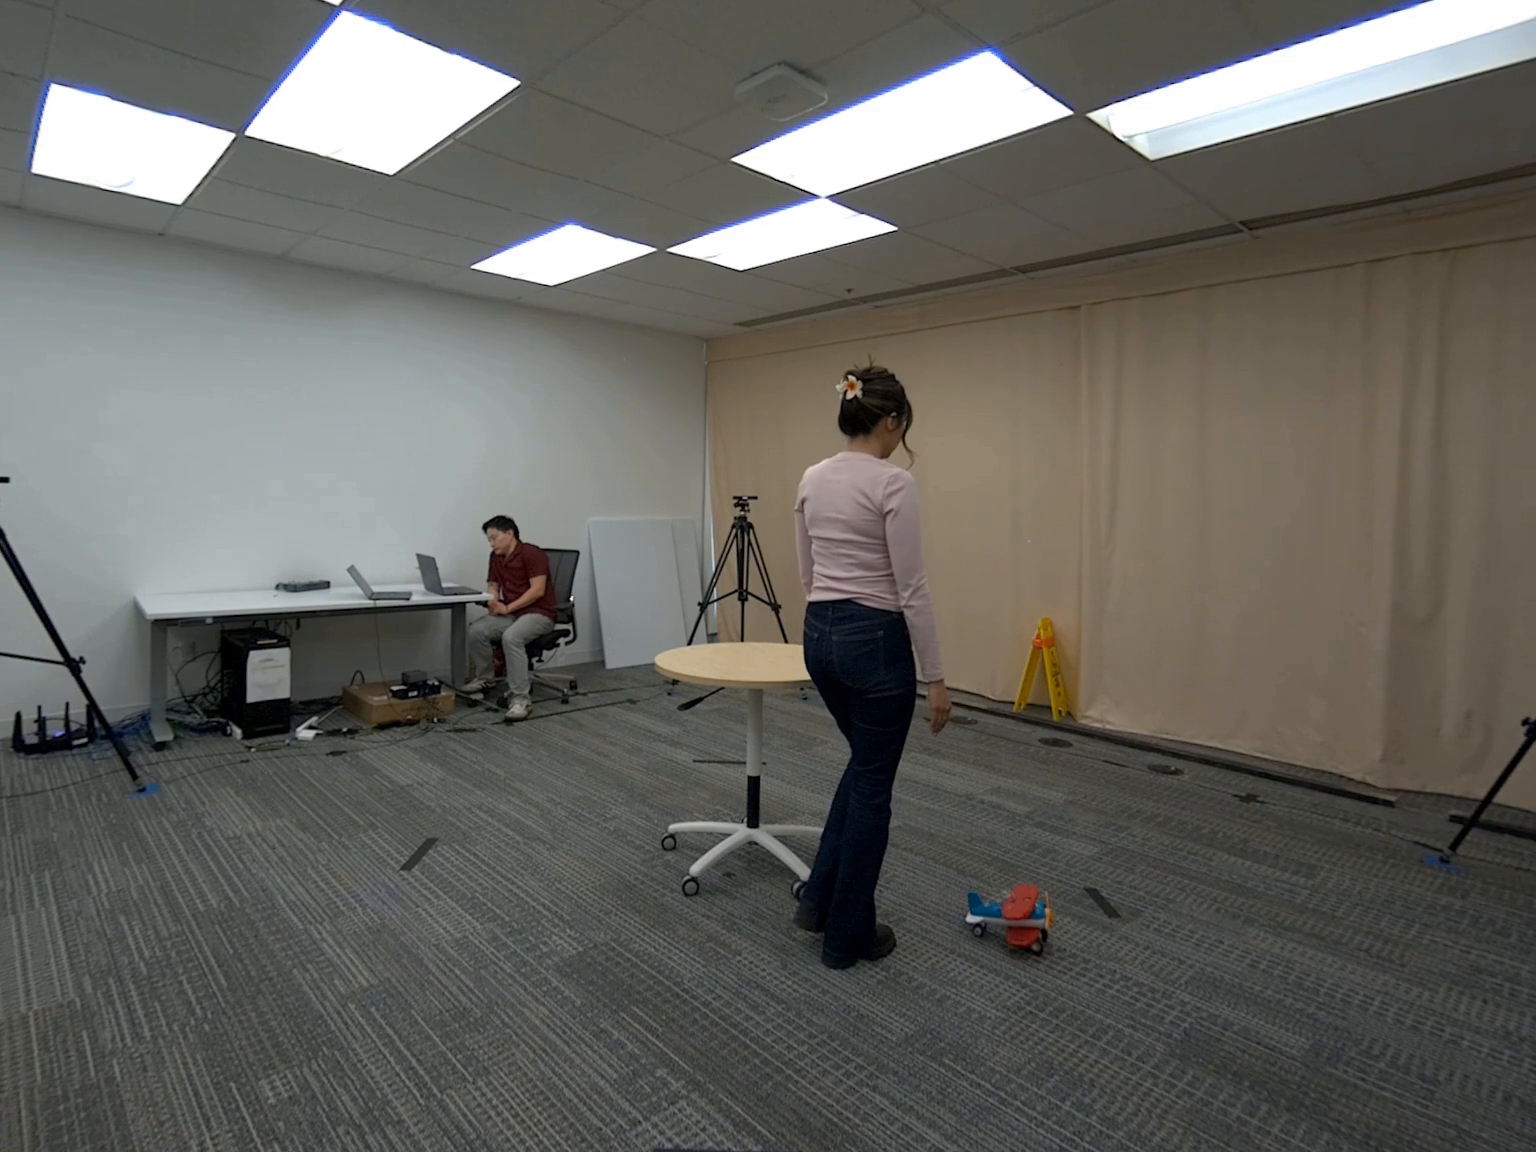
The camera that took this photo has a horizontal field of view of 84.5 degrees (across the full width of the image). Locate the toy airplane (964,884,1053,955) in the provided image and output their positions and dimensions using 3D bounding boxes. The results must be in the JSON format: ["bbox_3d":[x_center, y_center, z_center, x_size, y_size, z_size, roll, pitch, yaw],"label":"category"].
[{"bbox_3d":[0.758,1.092,2.665,0.259,0.156,0.252,2,5,-1],"label":"toy airplane"}]
